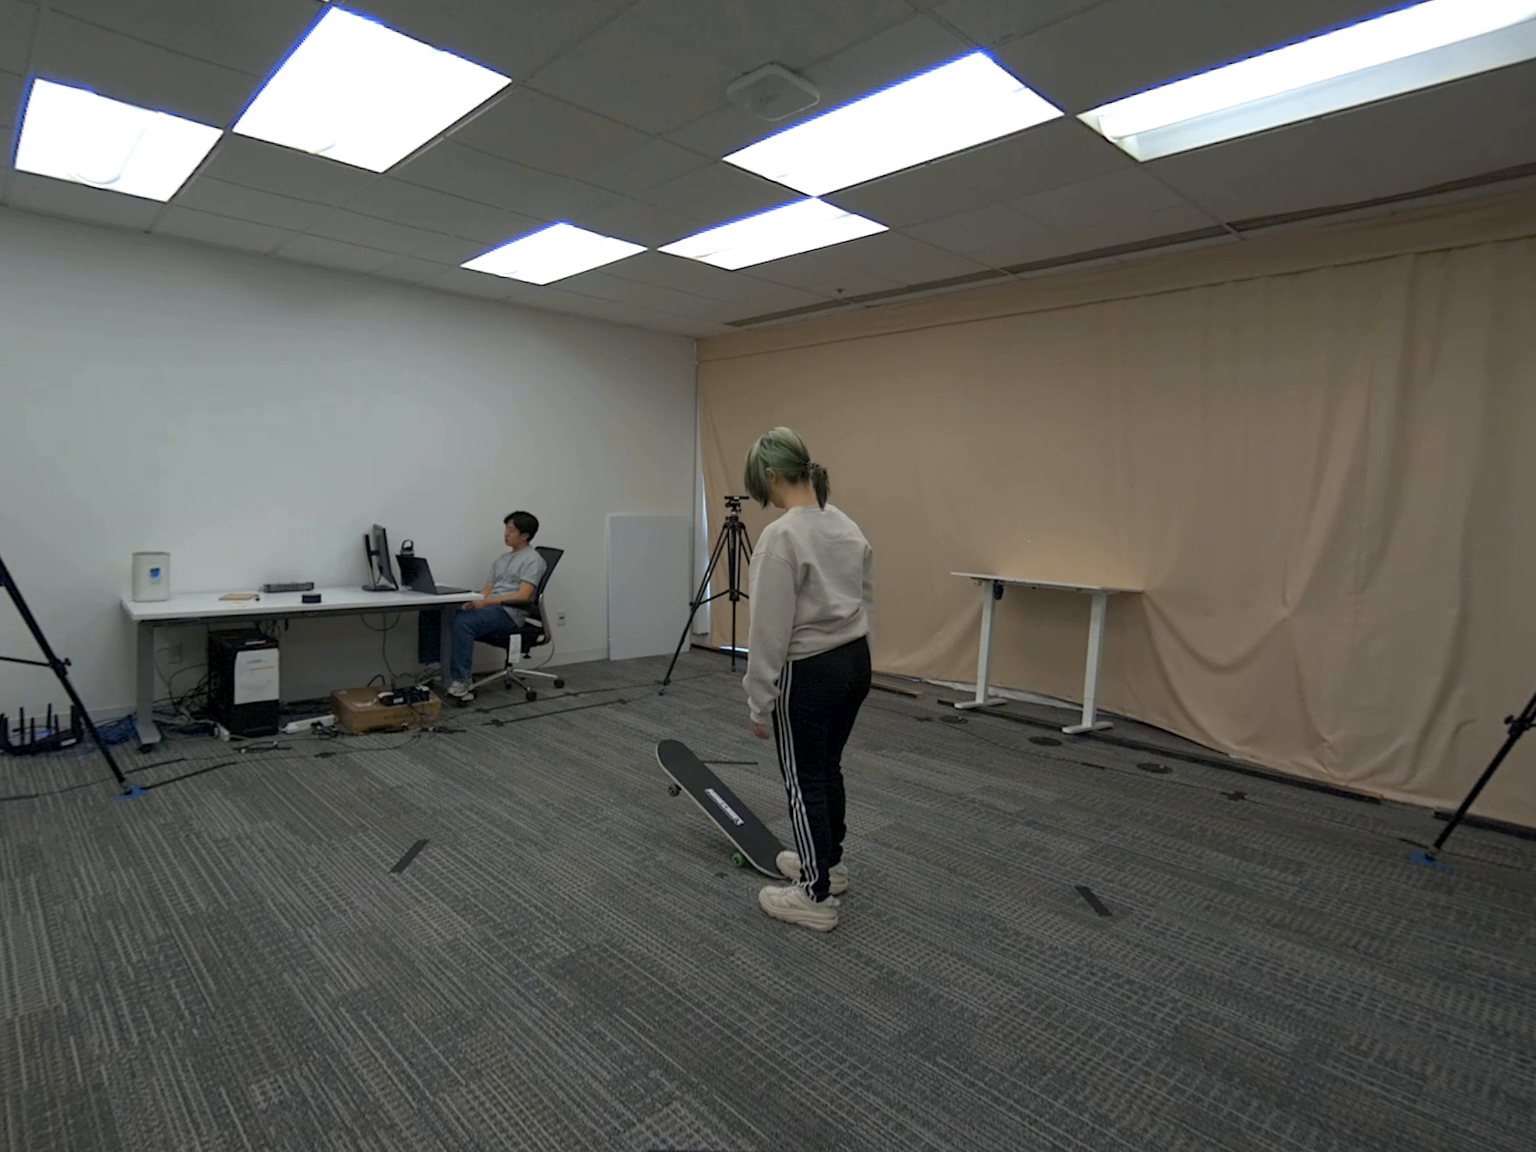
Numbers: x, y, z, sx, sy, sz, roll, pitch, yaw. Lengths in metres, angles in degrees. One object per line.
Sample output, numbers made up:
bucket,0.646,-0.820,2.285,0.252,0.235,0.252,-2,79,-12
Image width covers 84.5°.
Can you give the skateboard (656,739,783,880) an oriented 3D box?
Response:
skateboard,-0.194,0.943,3.343,0.189,0.109,0.809,-3,34,-49
